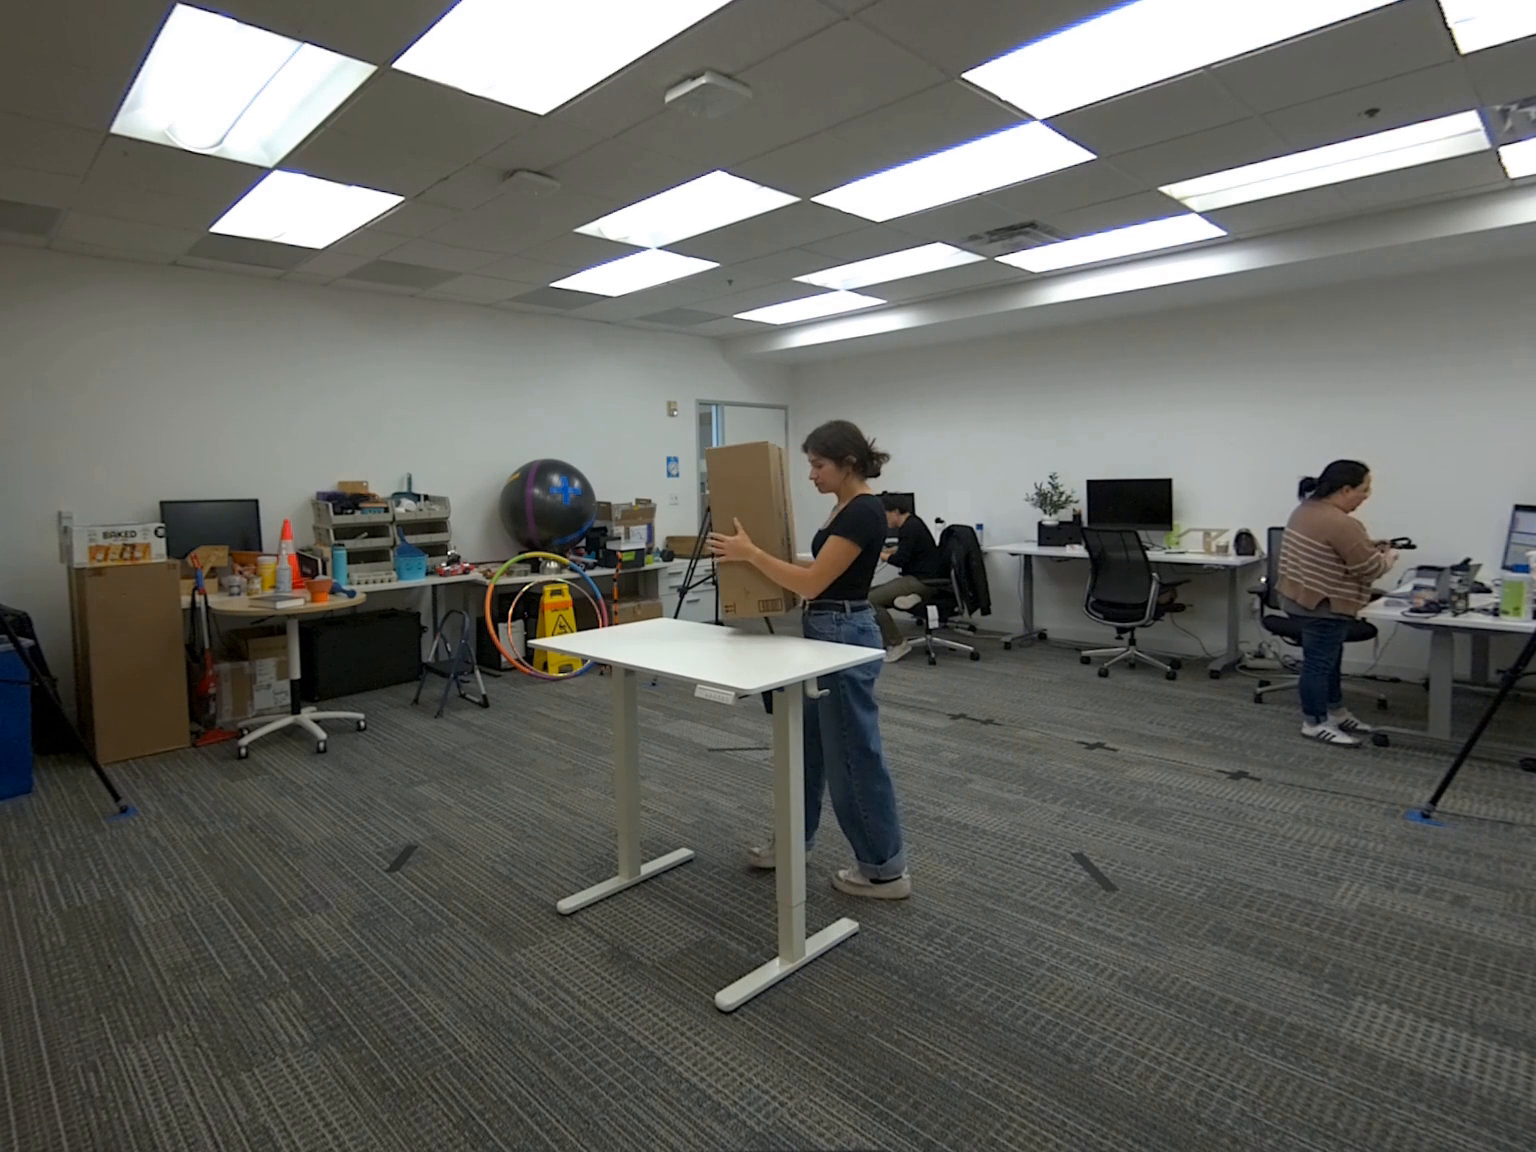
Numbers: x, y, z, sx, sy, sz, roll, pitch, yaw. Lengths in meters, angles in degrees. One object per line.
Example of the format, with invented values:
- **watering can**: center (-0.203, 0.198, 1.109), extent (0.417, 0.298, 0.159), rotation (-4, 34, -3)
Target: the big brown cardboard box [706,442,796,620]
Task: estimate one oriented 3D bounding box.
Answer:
- **big brown cardboard box**: center (-0.043, -0.167, 2.981), extent (0.235, 0.590, 0.413), rotation (-6, 0, 11)
